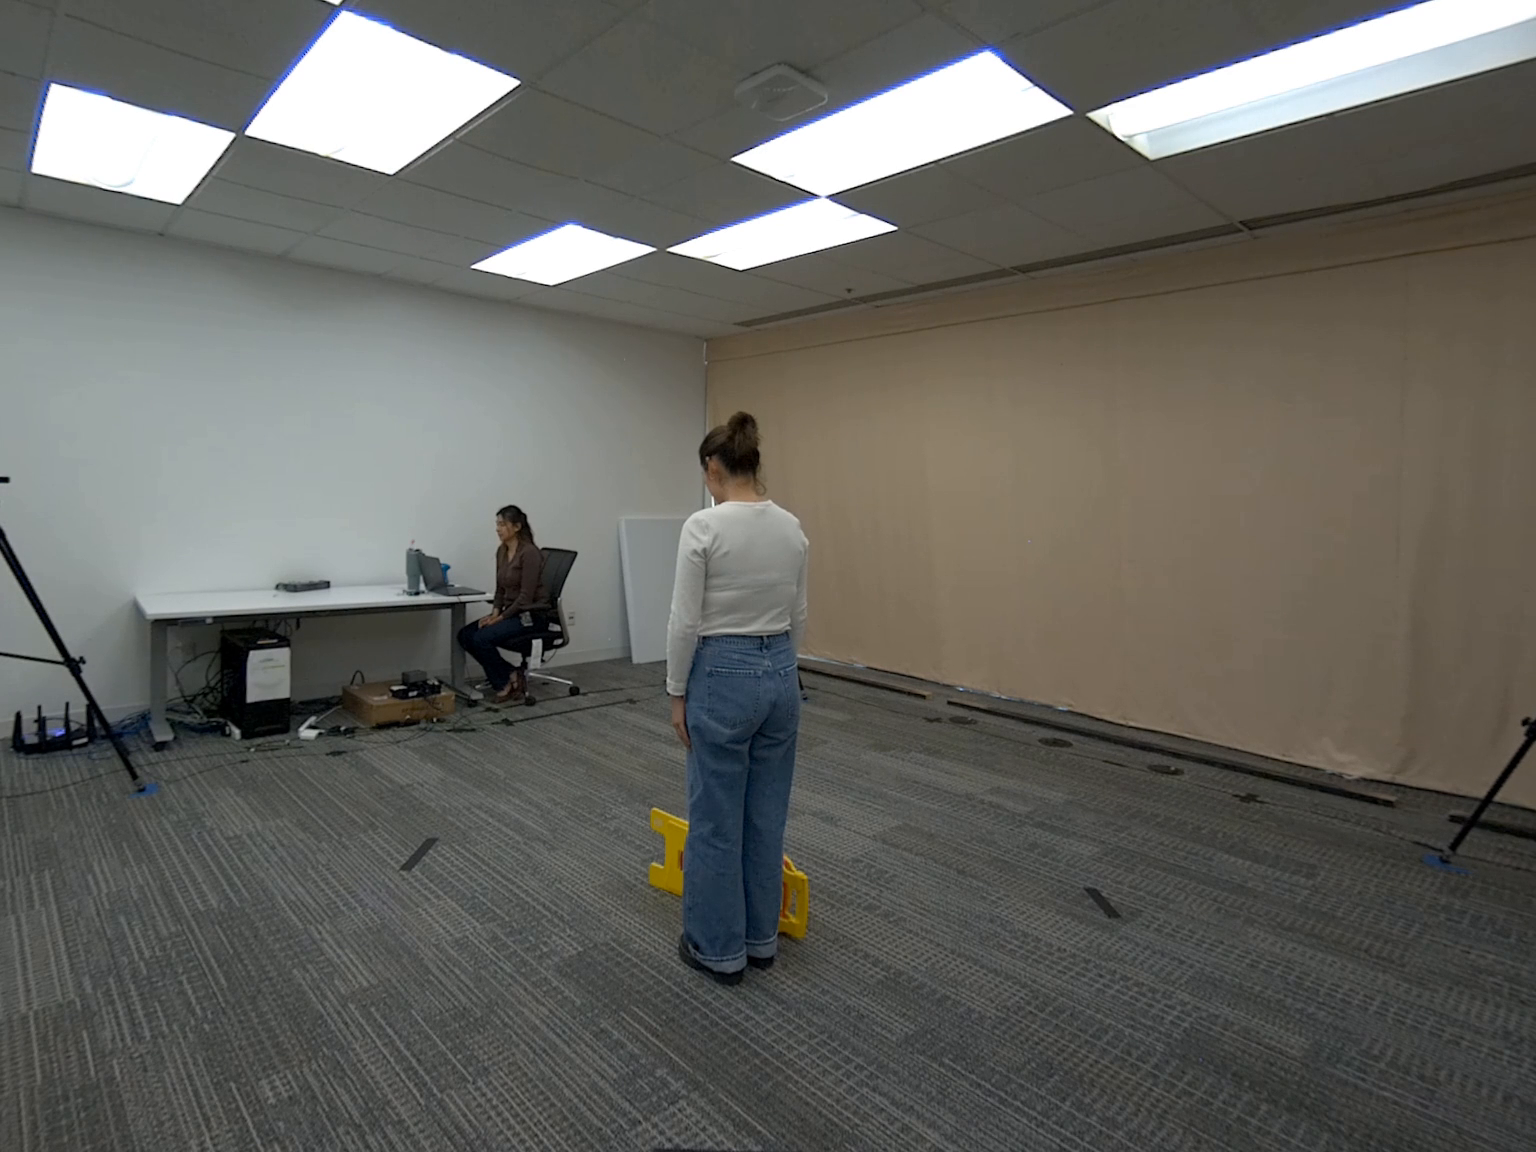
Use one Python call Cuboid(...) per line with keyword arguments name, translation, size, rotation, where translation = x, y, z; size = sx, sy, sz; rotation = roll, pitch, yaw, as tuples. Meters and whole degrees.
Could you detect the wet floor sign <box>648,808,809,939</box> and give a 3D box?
Cuboid(name="wet floor sign", translation=(-0.110, 0.999, 2.855), size=(0.283, 0.281, 0.663), rotation=(-4, 9, -42))
